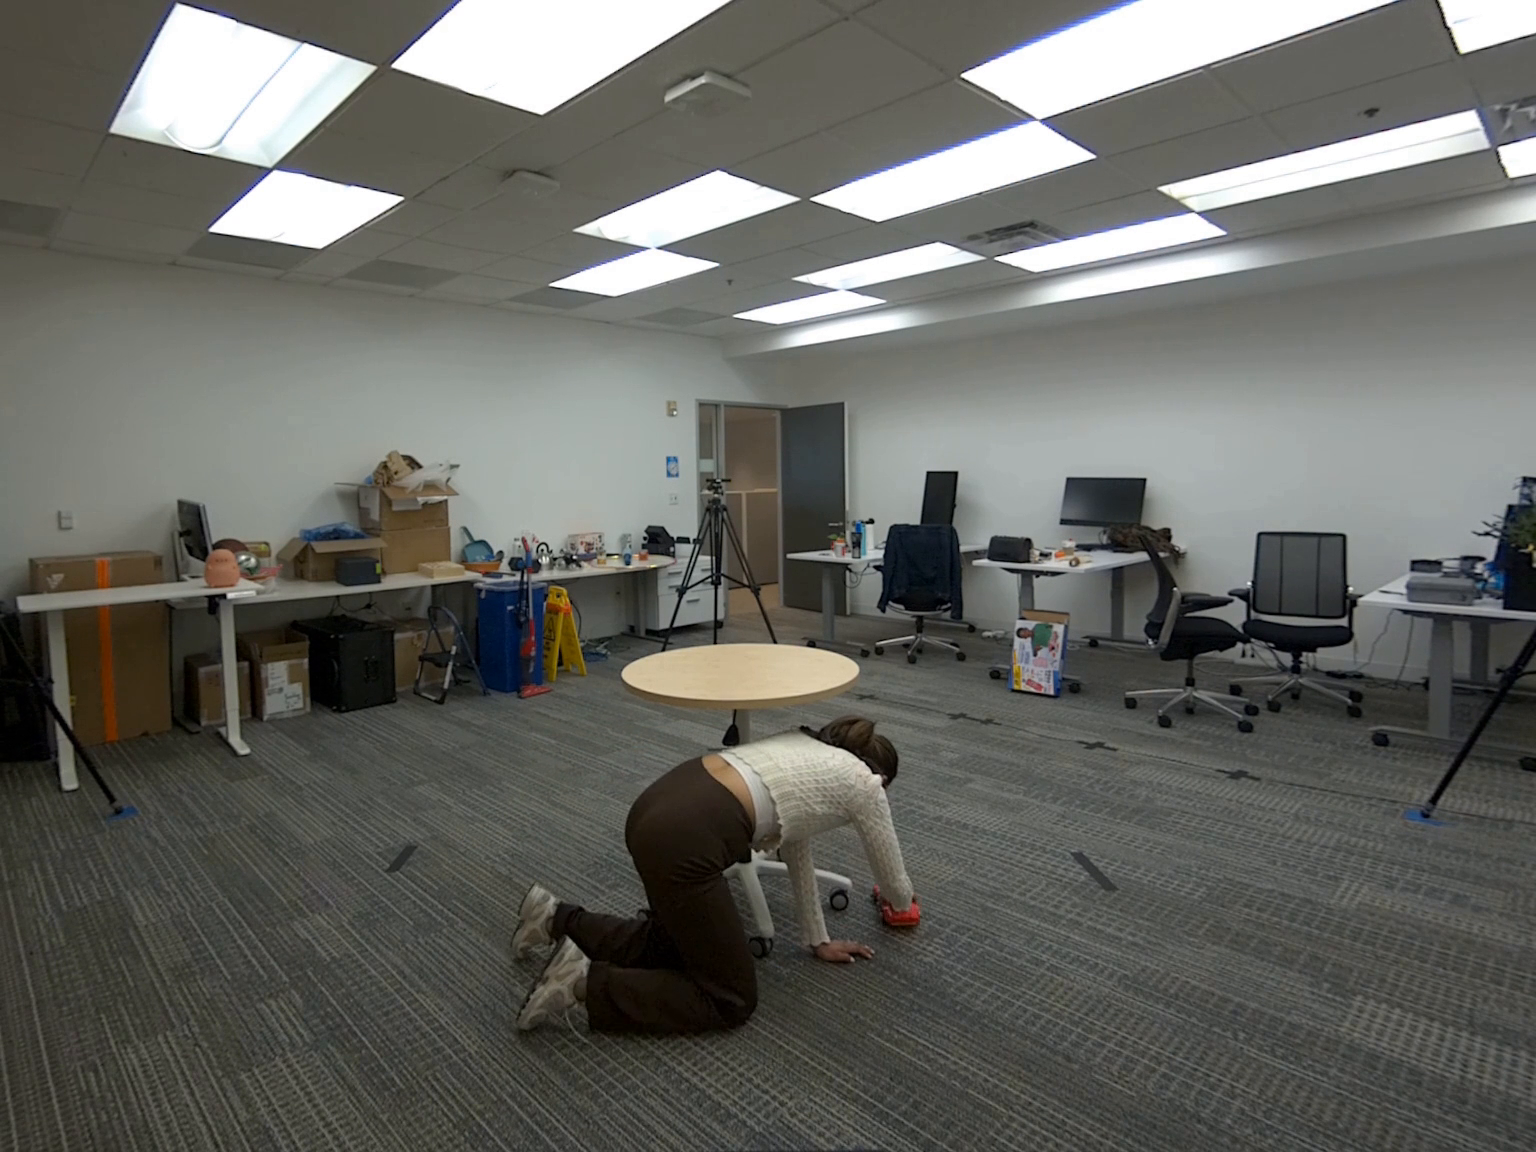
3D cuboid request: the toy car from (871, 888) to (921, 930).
[{"bbox_3d":[0.394,1.048,2.720,0.130,0.084,0.254,-2,-5,-5],"label":"toy car"}]
